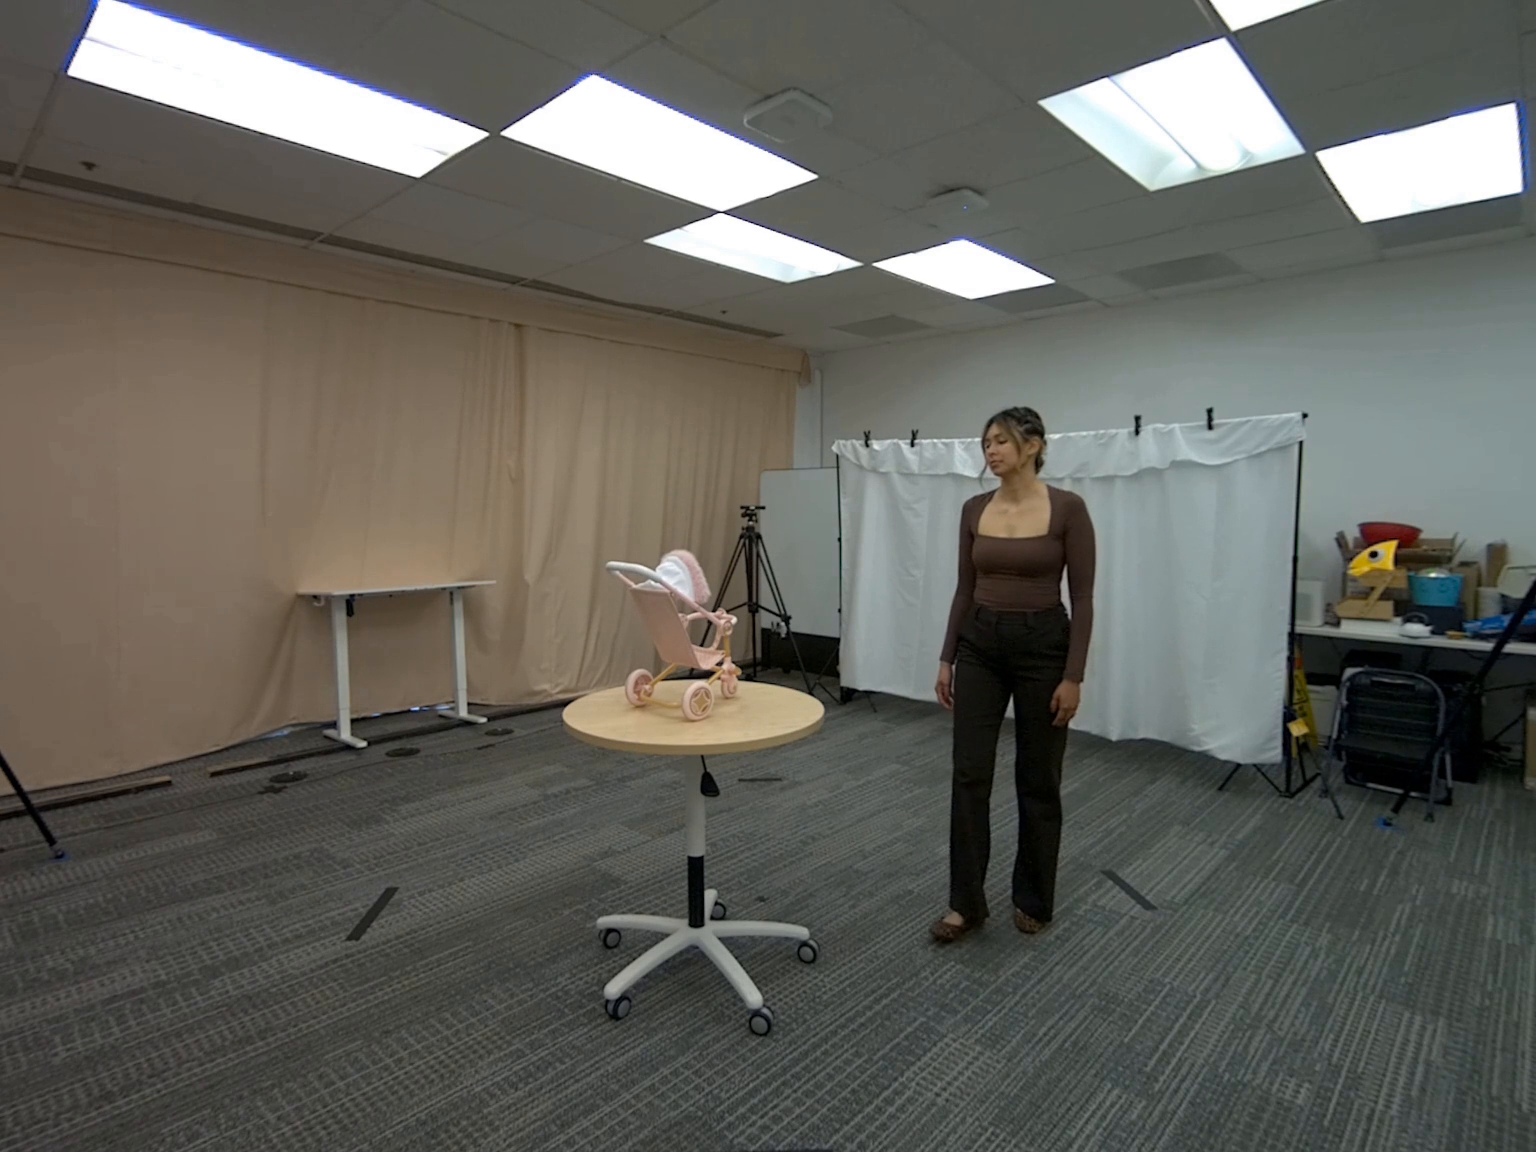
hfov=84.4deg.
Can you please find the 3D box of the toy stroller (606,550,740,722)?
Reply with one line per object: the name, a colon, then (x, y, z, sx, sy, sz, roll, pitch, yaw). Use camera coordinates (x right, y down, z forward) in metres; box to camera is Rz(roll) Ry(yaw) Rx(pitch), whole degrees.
toy stroller: (-0.243, 0.169, 2.456, 0.334, 0.529, 0.291, -21, 16, -39)
